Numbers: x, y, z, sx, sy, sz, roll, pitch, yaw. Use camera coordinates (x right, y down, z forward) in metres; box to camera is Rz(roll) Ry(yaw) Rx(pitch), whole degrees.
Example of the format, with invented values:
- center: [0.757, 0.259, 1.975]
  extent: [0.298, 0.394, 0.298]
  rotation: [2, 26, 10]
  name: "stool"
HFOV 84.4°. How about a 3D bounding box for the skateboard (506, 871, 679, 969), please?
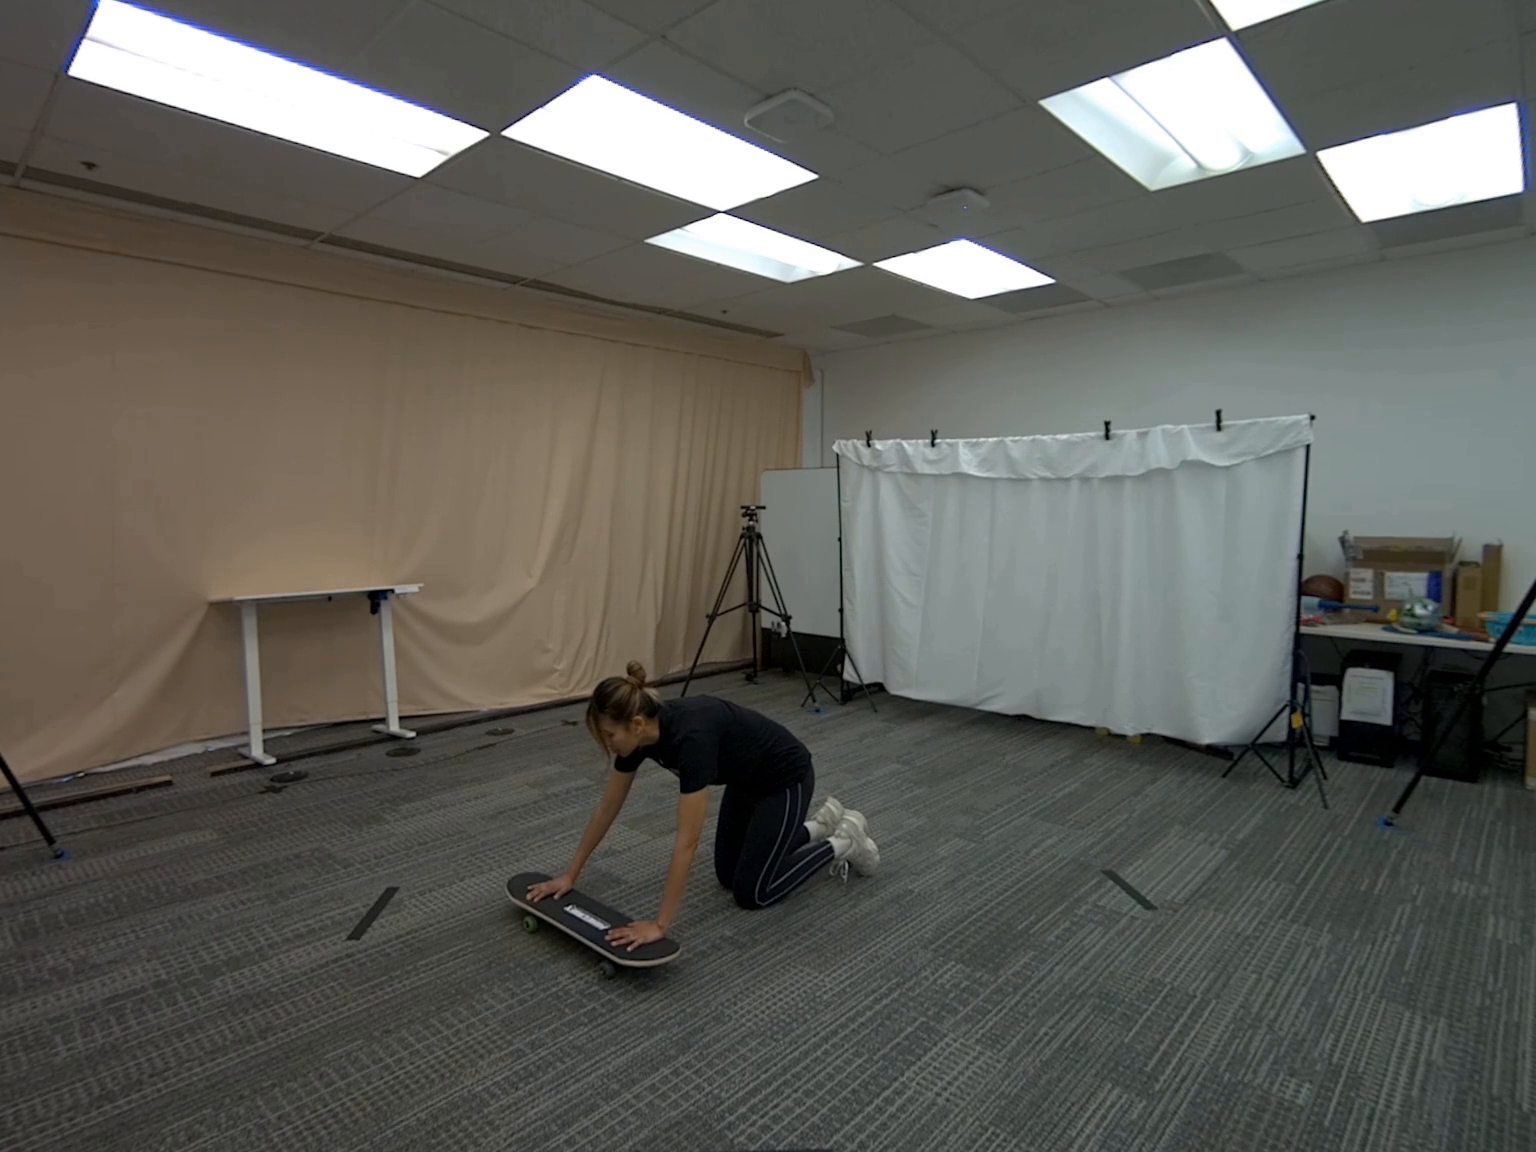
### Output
- center: [-0.567, 1.118, 2.680]
  extent: [0.811, 0.110, 0.187]
  rotation: [3, 4, 41]
  name: "skateboard"
